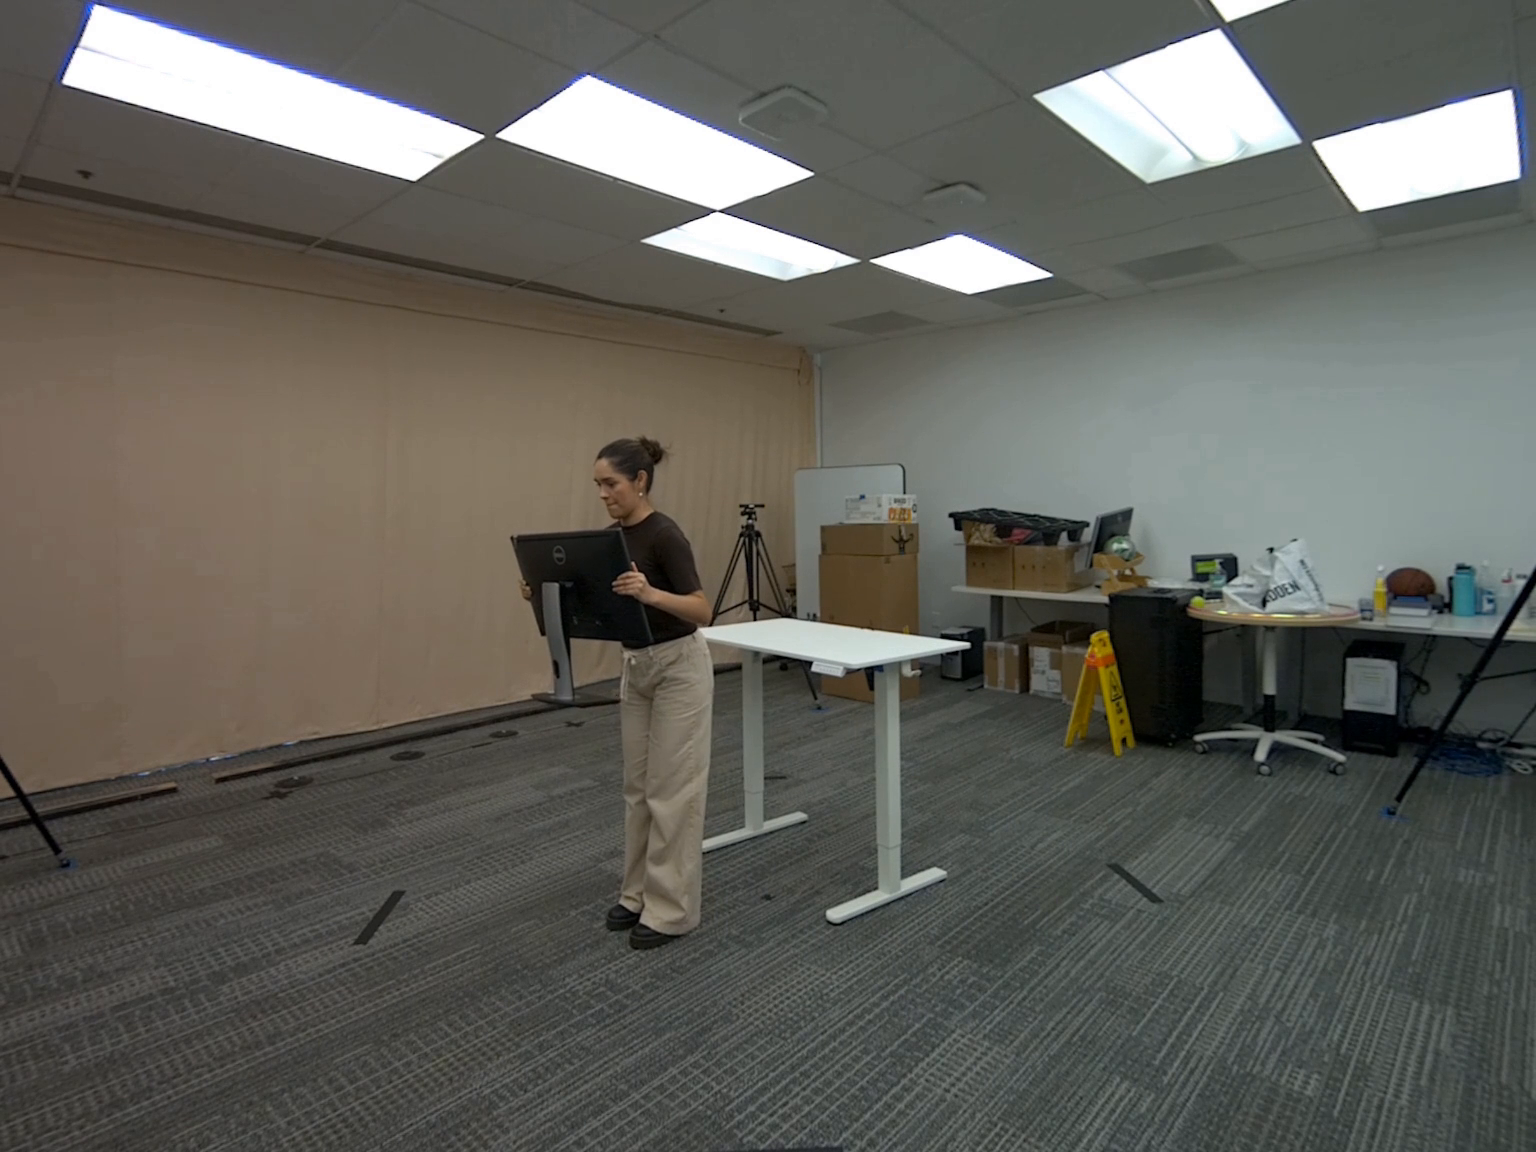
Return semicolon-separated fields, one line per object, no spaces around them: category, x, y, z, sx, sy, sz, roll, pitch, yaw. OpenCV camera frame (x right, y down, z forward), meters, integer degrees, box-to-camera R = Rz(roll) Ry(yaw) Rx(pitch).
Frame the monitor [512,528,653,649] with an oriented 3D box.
monitor;-0.602;0.129;2.574;0.556;0.522;0.181;-2;2;40
